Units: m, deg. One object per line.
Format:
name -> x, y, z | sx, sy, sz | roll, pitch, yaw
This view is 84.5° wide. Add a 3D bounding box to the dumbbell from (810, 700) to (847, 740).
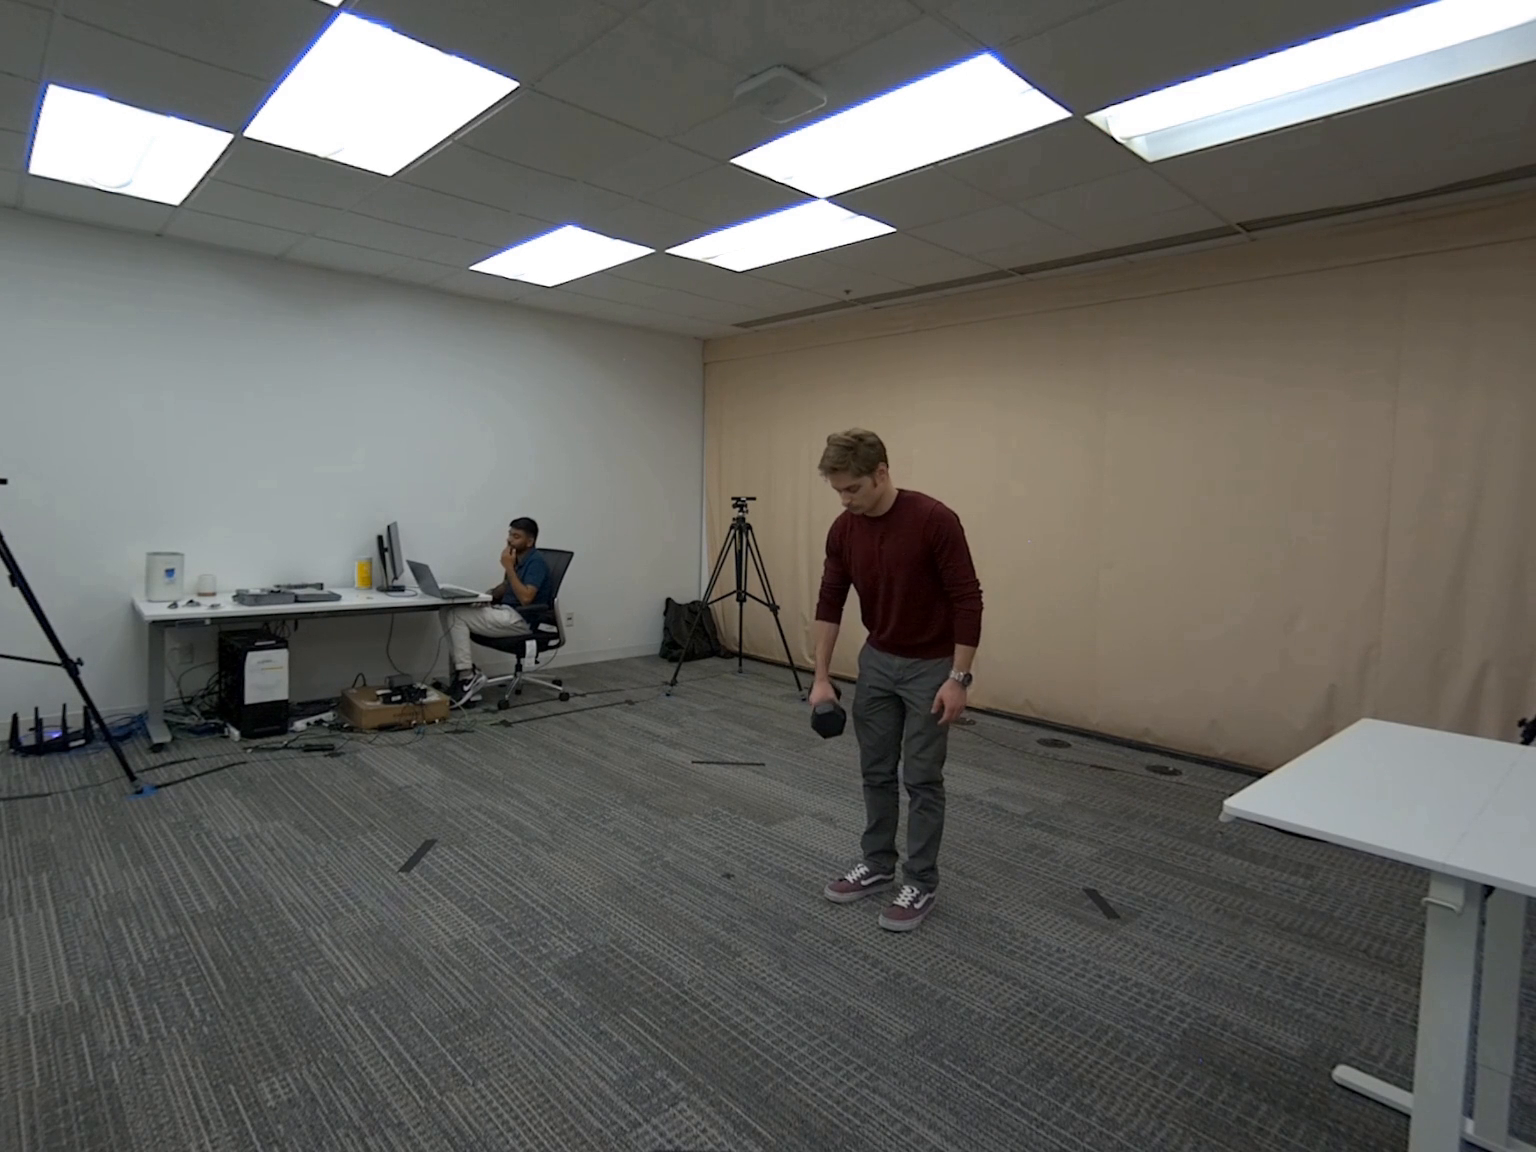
dumbbell -> 0.208, 0.452, 2.909 | 0.108, 0.122, 0.296 | 14, 12, -4
